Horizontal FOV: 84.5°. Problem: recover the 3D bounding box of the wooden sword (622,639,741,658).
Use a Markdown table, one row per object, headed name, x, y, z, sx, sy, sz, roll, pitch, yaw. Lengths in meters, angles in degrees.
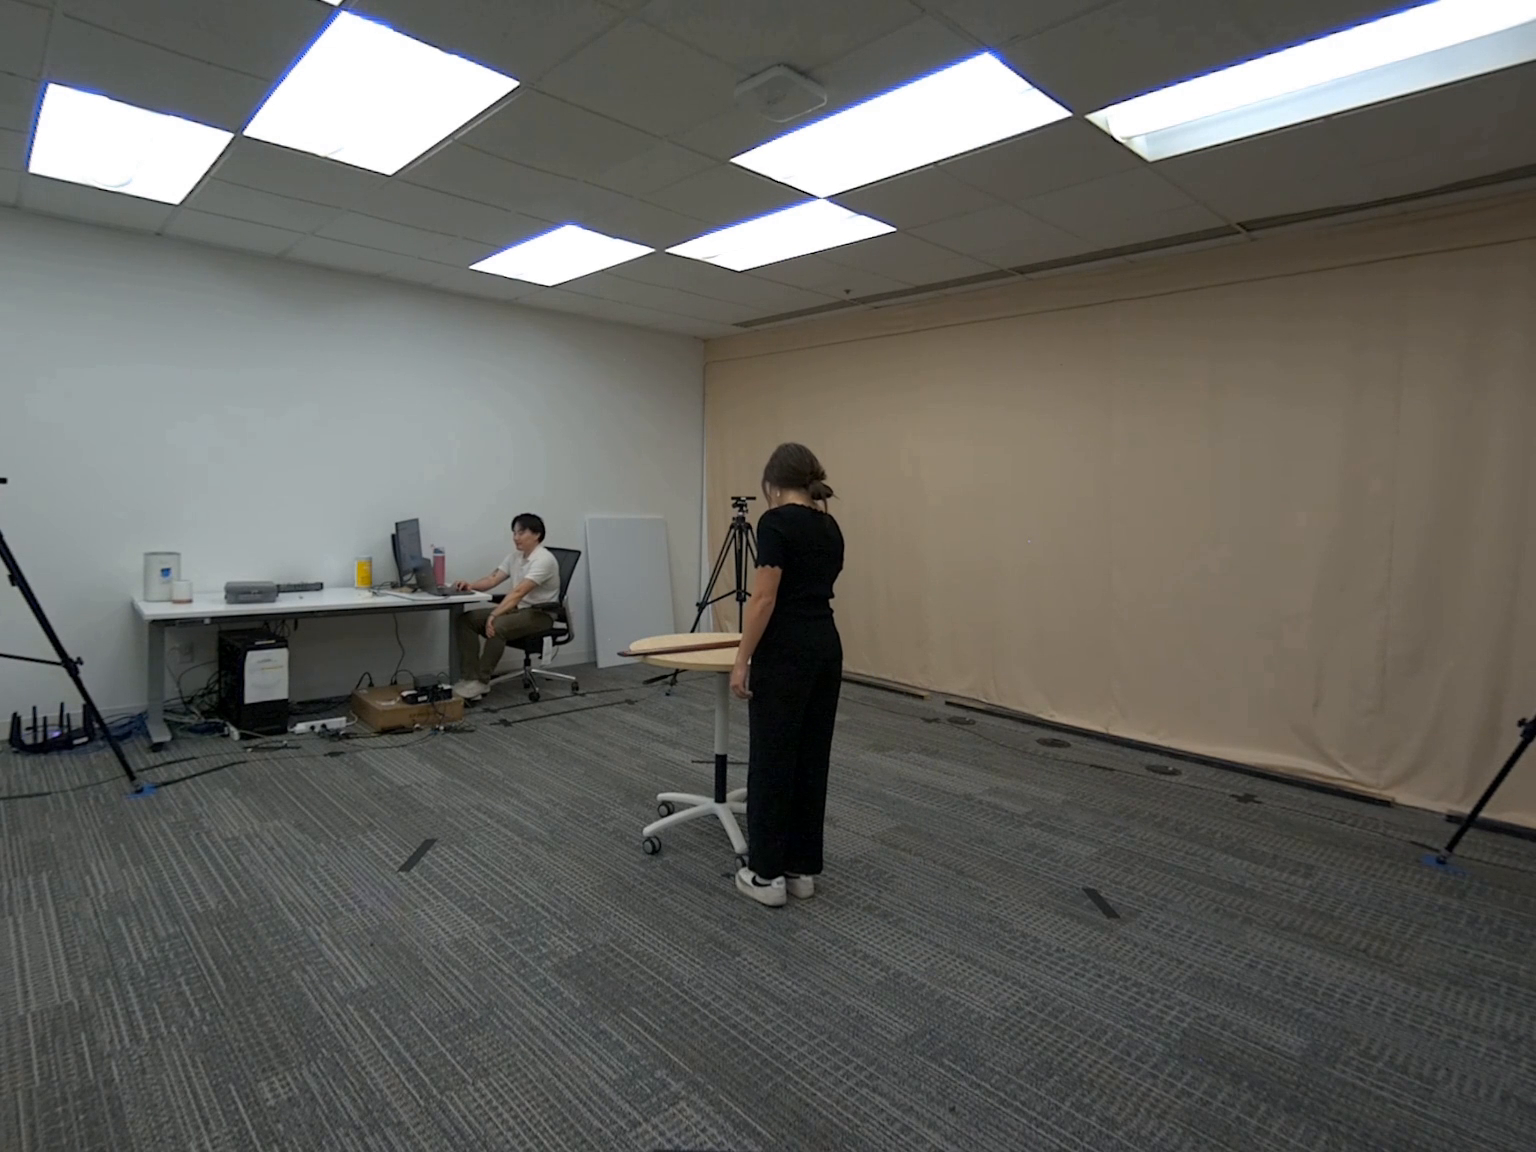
| name | x | y | z | sx | sy | sz | roll | pitch | yaw |
| --- | --- | --- | --- | --- | --- | --- | --- | --- | --- |
| wooden sword | -0.126 | 0.284 | 3.466 | 1.001 | 0.024 | 0.052 | -3 | -8 | -43 |
